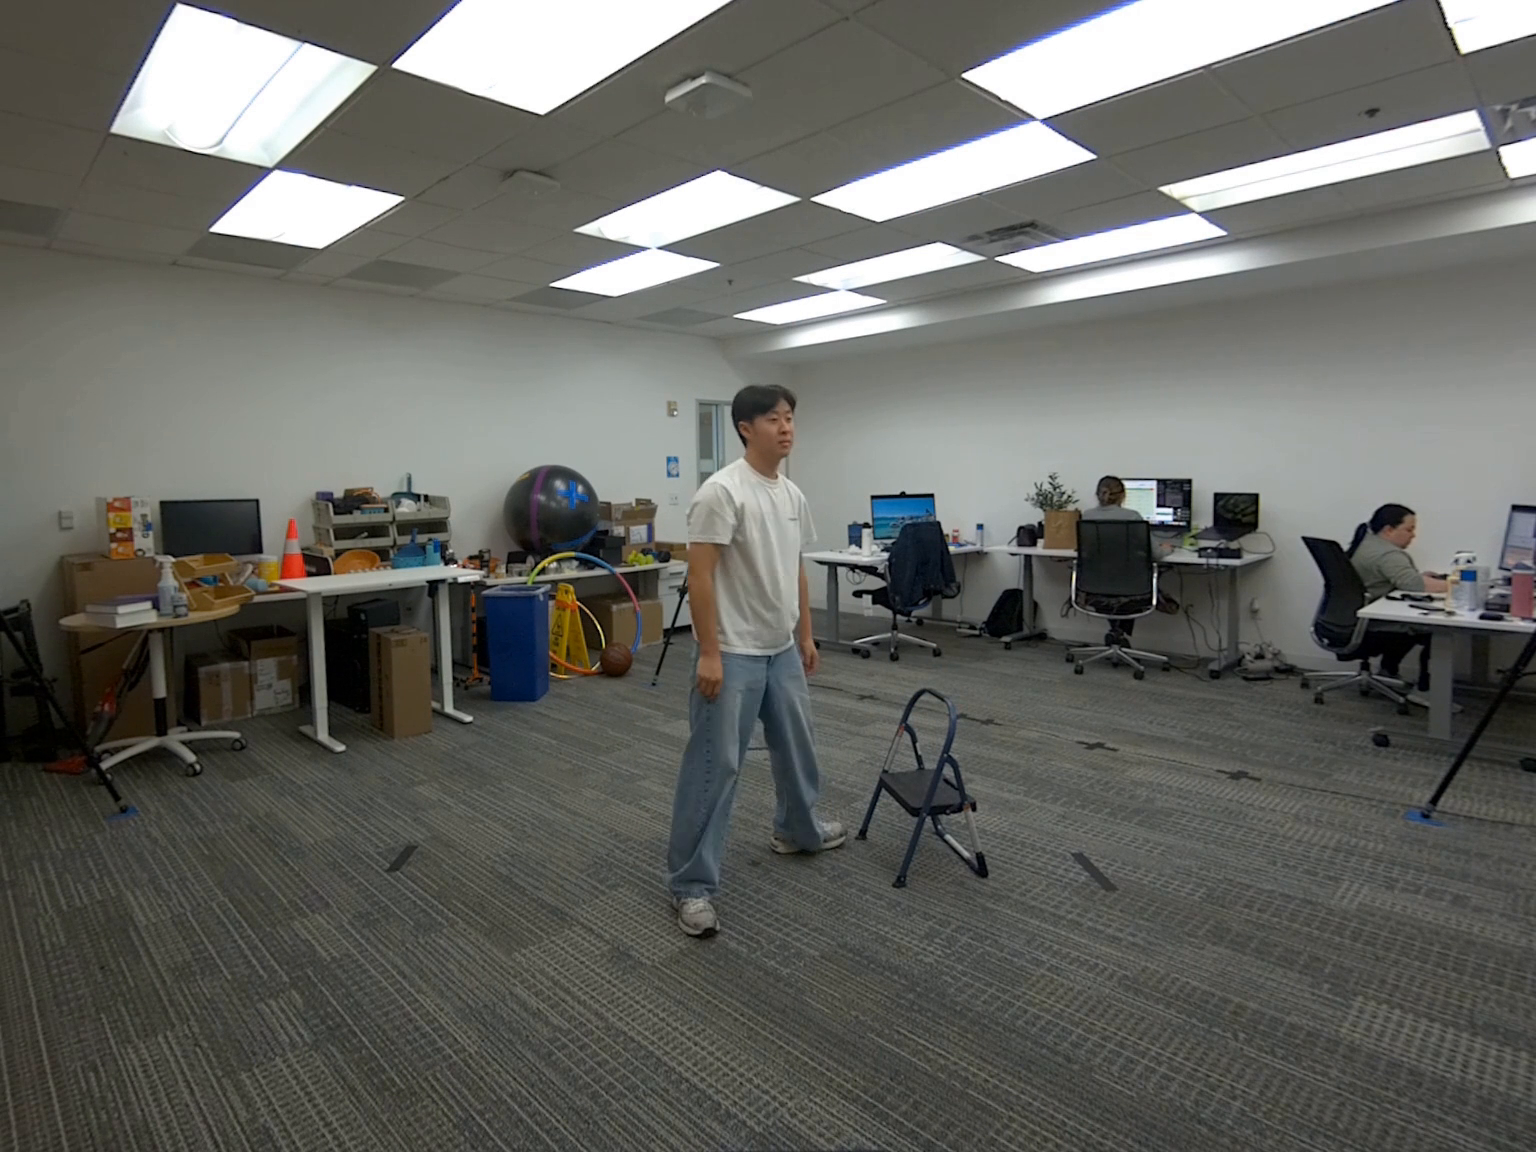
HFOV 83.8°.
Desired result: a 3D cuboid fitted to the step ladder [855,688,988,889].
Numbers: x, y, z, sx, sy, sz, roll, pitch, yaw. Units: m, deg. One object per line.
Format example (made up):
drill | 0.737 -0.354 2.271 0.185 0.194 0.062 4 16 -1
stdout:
step ladder | 0.553 0.733 3.116 0.346 0.604 0.437 -2 5 -12
